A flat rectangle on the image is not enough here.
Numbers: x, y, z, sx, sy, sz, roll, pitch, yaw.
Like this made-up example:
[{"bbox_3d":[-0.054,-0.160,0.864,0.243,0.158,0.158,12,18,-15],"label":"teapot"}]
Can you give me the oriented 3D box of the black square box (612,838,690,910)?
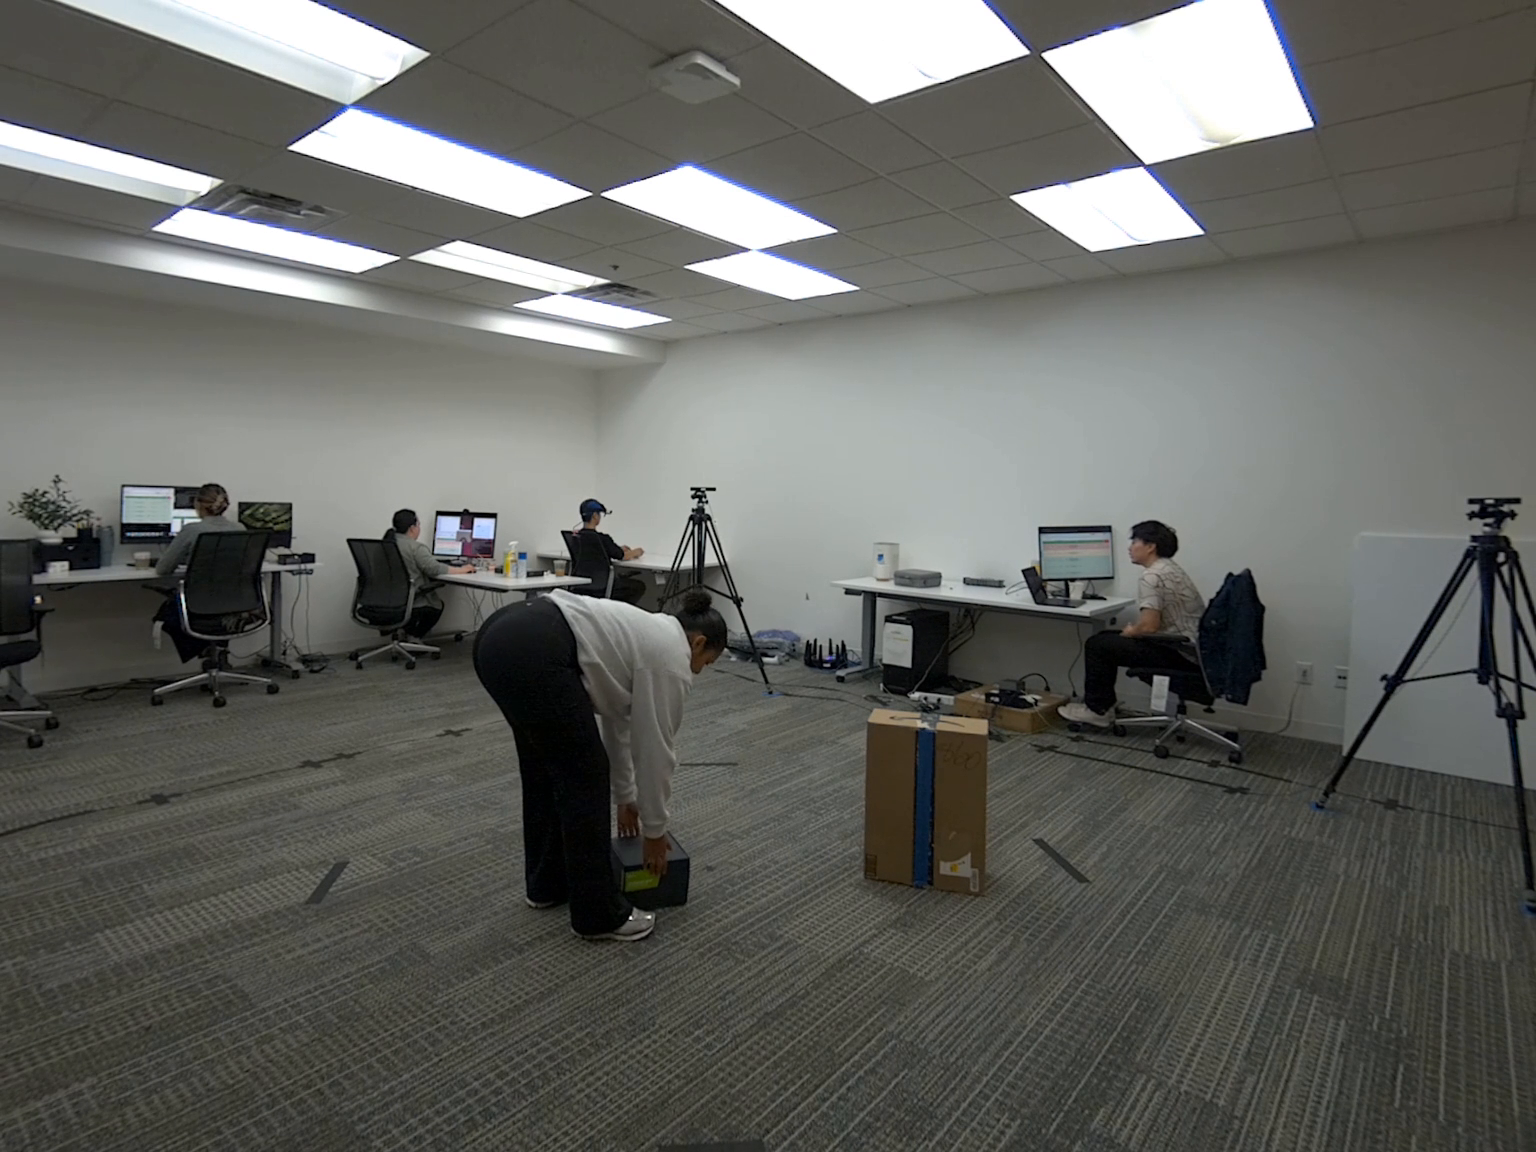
[{"bbox_3d":[-0.408,0.971,2.882,0.223,0.155,0.223,0,8,-23],"label":"black square box"}]
